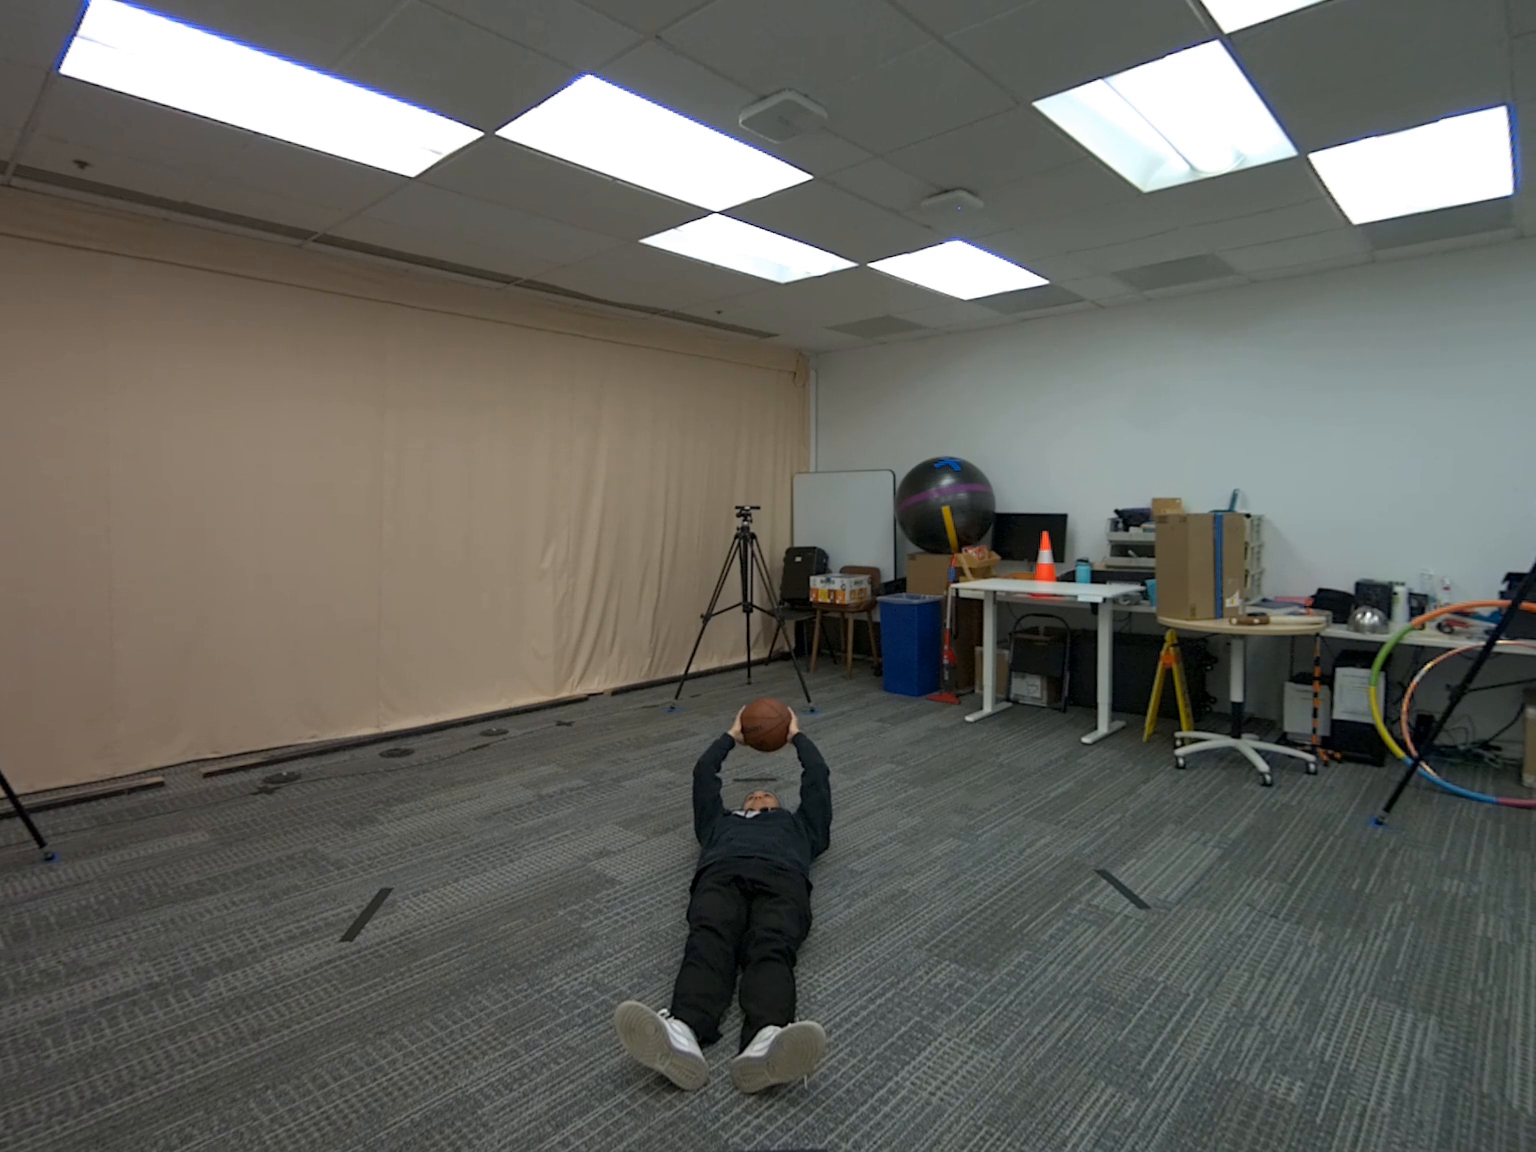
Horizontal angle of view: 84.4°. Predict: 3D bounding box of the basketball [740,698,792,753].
[{"bbox_3d":[-0.003,0.650,3.702,0.236,0.235,0.237,0,4,-2],"label":"basketball"}]
